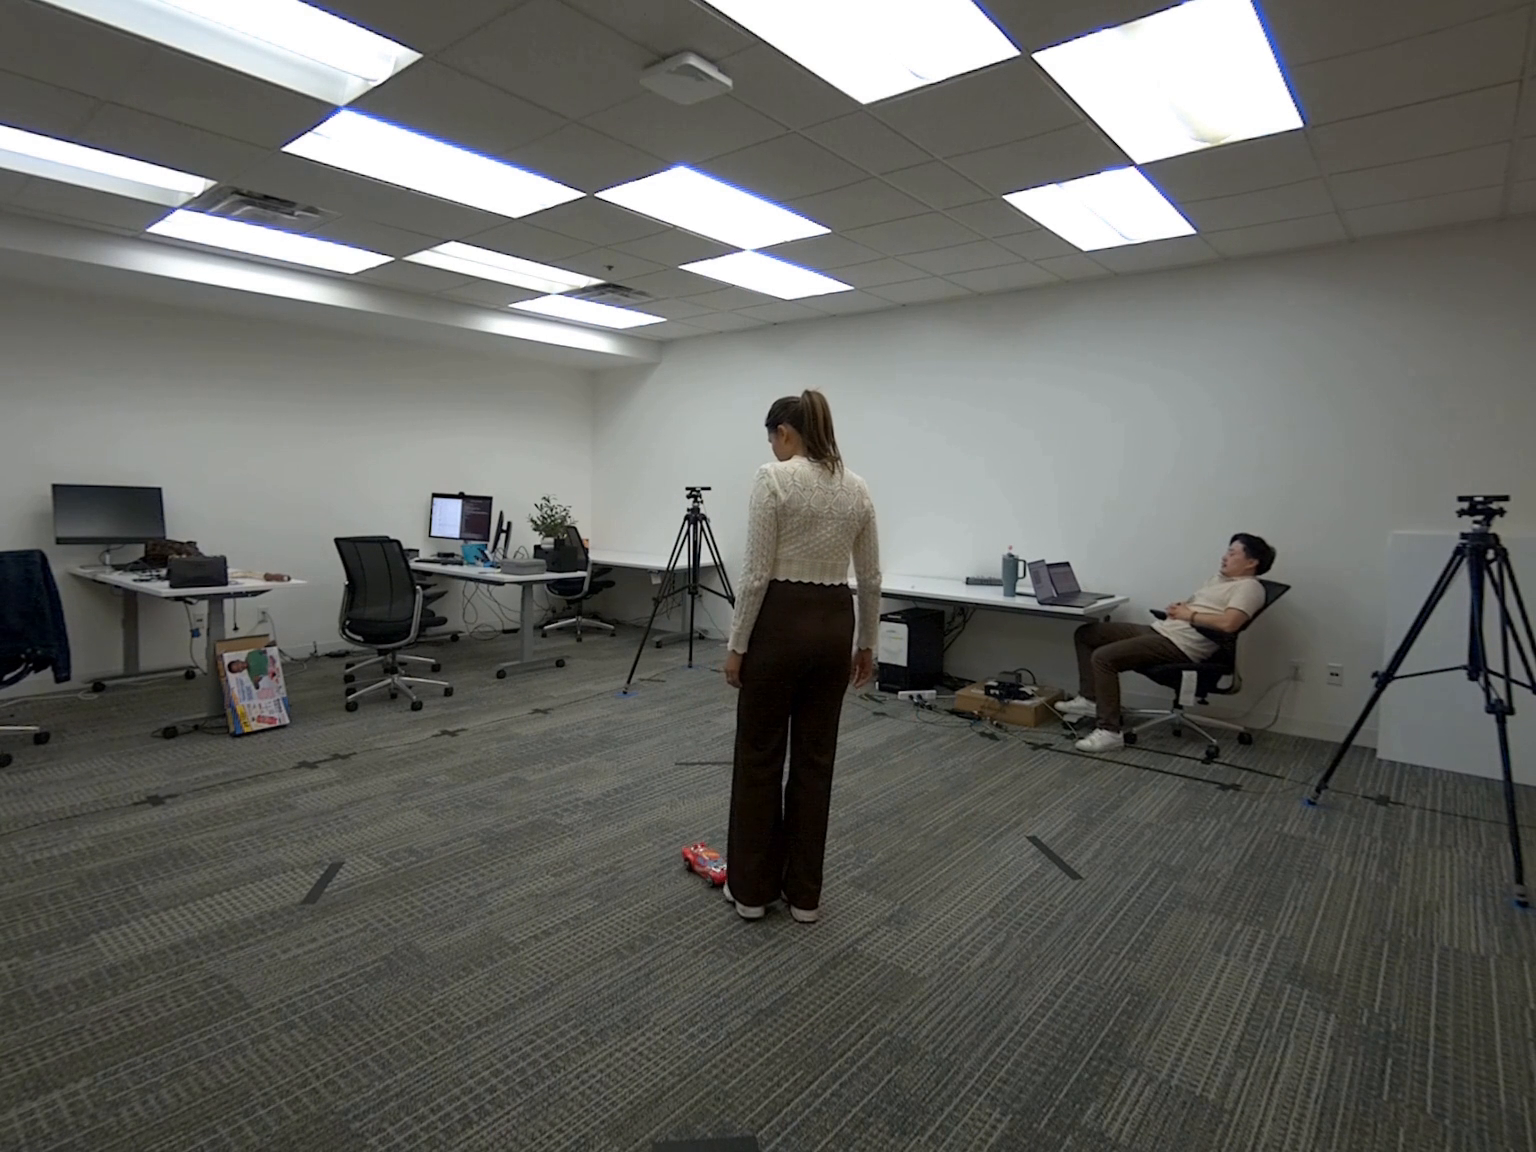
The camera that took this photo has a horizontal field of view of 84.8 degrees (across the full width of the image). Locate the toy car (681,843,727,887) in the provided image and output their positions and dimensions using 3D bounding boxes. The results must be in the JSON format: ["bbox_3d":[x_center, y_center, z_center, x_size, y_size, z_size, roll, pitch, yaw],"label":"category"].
[{"bbox_3d":[-0.222,1.035,3.069,0.126,0.082,0.265,-2,17,-35],"label":"toy car"}]
